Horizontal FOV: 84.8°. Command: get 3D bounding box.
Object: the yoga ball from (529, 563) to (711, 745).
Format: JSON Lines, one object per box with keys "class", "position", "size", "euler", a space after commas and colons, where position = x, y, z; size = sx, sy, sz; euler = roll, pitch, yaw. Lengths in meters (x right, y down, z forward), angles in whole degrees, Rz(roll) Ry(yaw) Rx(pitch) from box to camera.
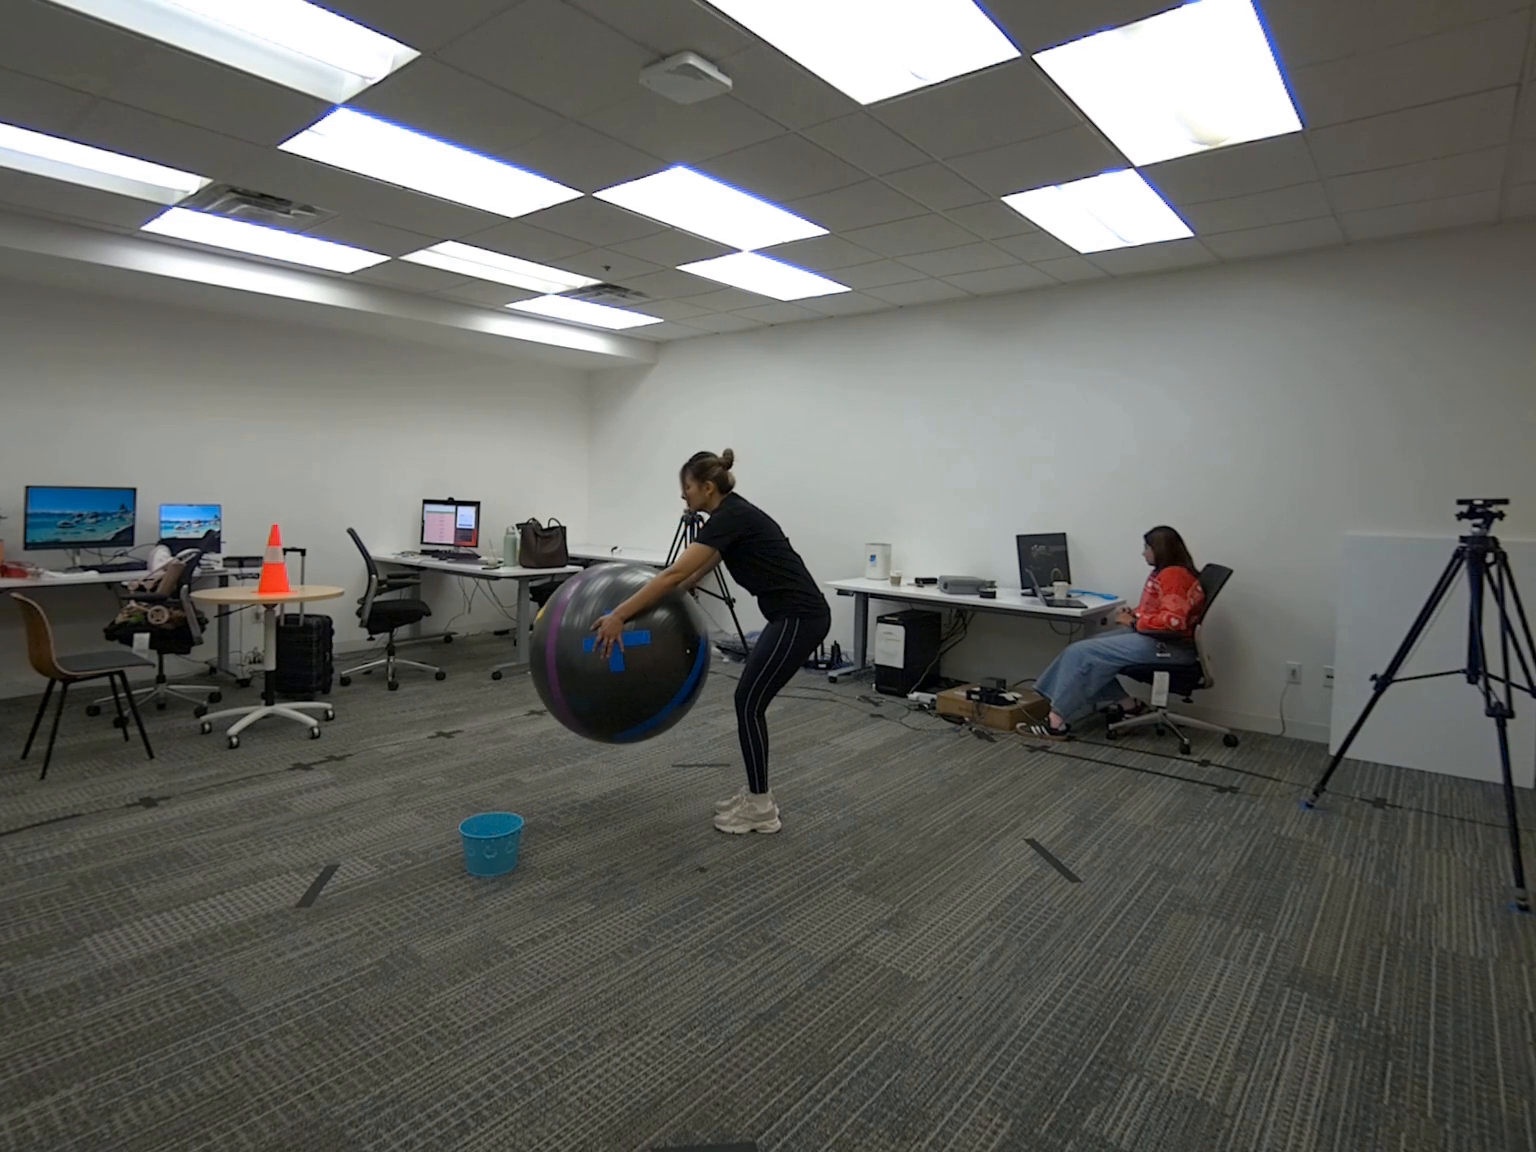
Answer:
{"class": "yoga ball", "position": [-0.635, 0.320, 3.583], "size": [0.757, 0.756, 0.762], "euler": [1, 4, -2]}
